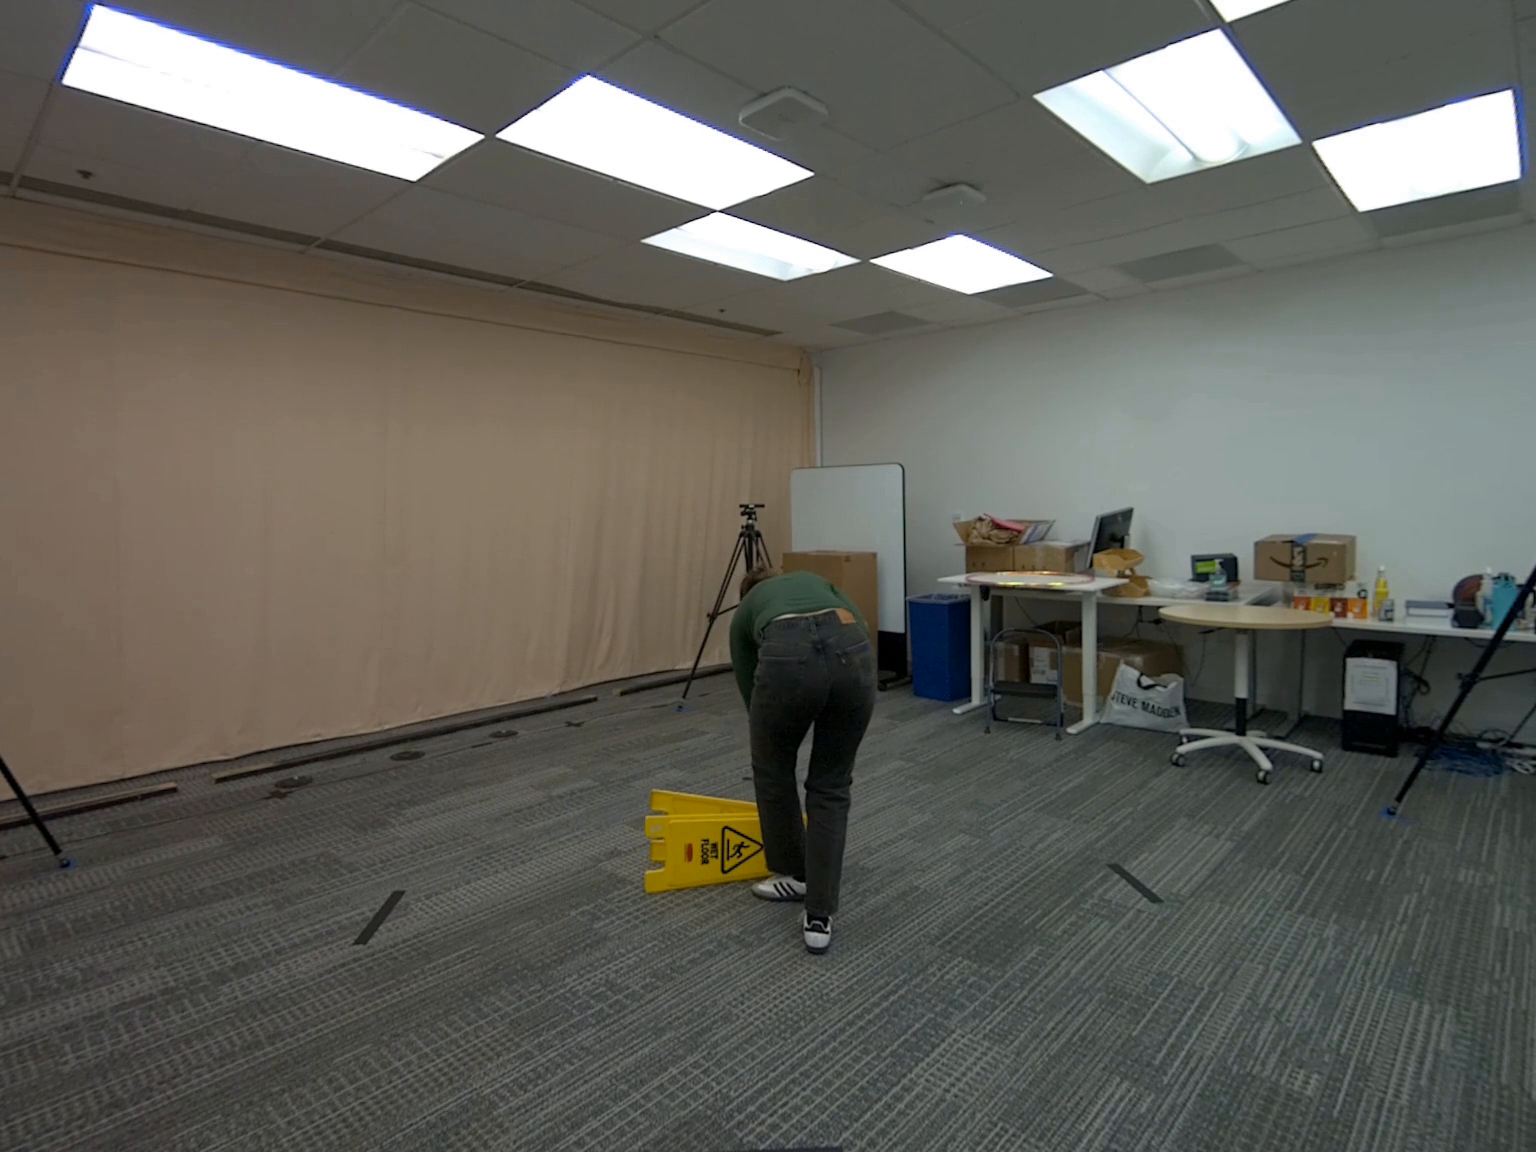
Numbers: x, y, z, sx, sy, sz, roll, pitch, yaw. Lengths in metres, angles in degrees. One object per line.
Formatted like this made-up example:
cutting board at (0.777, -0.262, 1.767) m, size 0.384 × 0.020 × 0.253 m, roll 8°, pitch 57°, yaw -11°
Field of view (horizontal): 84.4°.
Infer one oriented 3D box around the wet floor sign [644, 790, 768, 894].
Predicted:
wet floor sign at (-0.129, 0.992, 3.183) m, size 0.645 × 0.282 × 0.291 m, roll 1°, pitch 3°, yaw -2°
